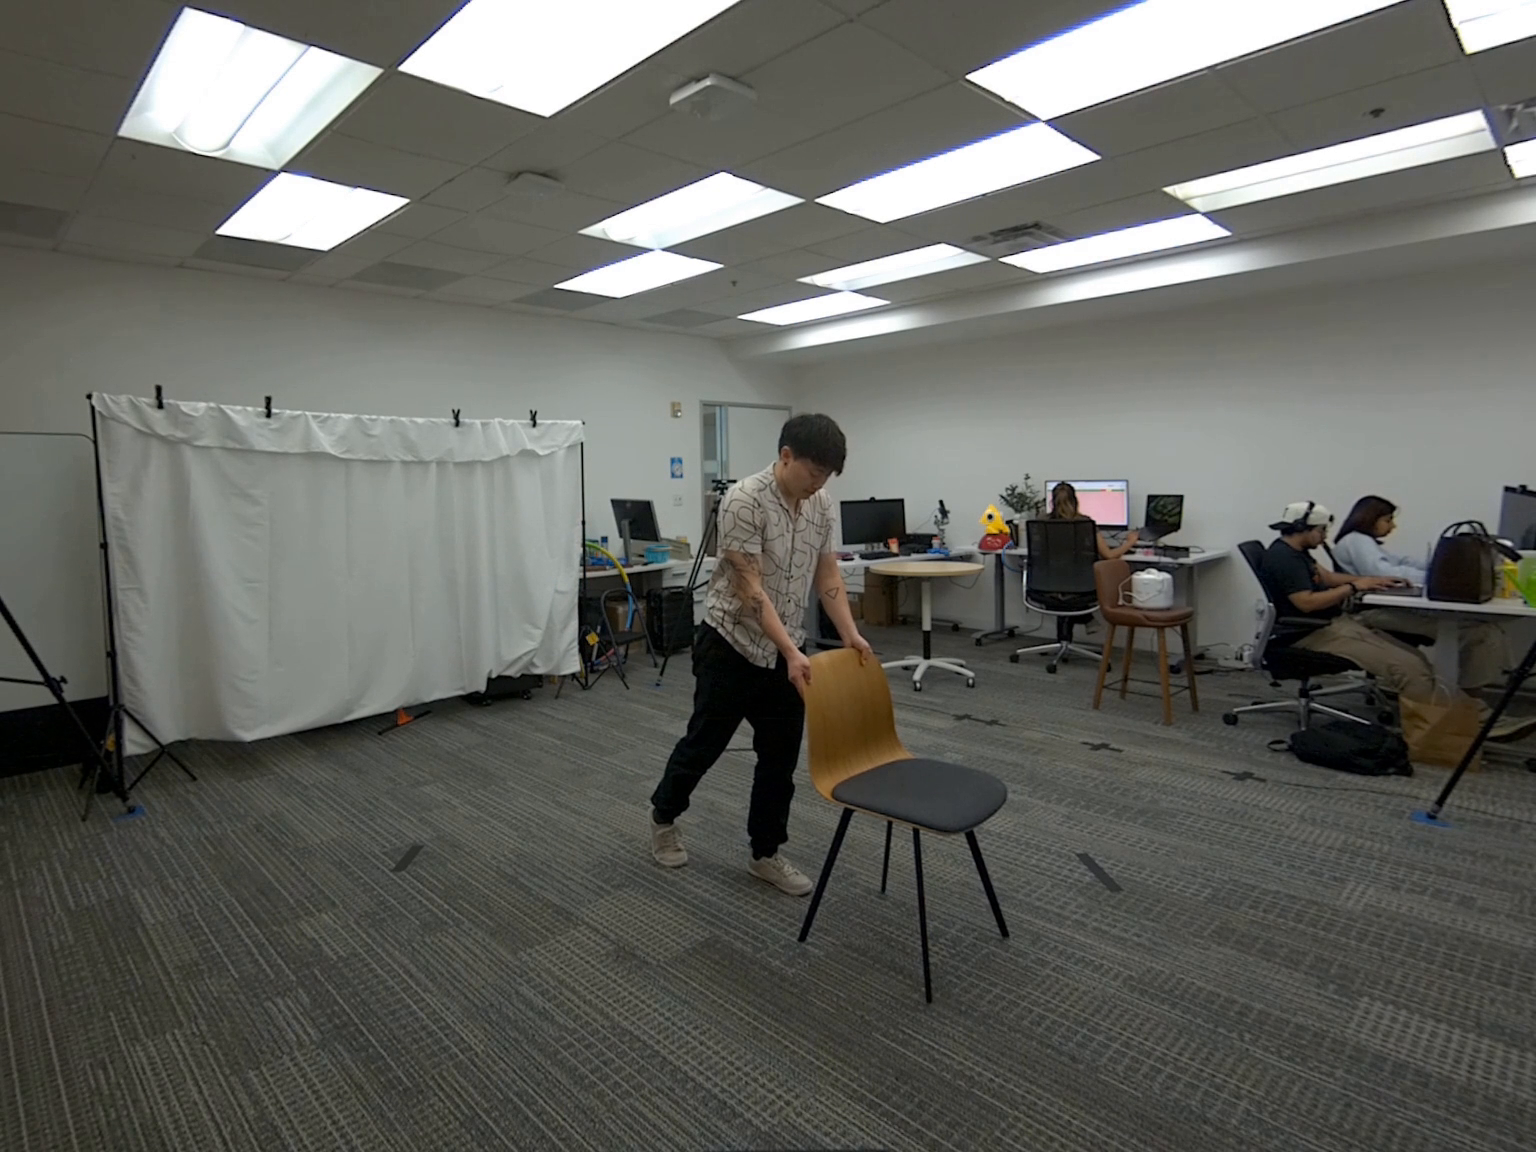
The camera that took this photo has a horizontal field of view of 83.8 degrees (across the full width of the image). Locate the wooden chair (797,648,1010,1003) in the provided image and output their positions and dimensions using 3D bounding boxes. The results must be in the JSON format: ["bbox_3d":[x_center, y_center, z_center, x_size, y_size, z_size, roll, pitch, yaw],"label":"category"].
[{"bbox_3d":[0.408,0.674,2.546,0.537,0.877,0.465,-4,1,43],"label":"wooden chair"}]
